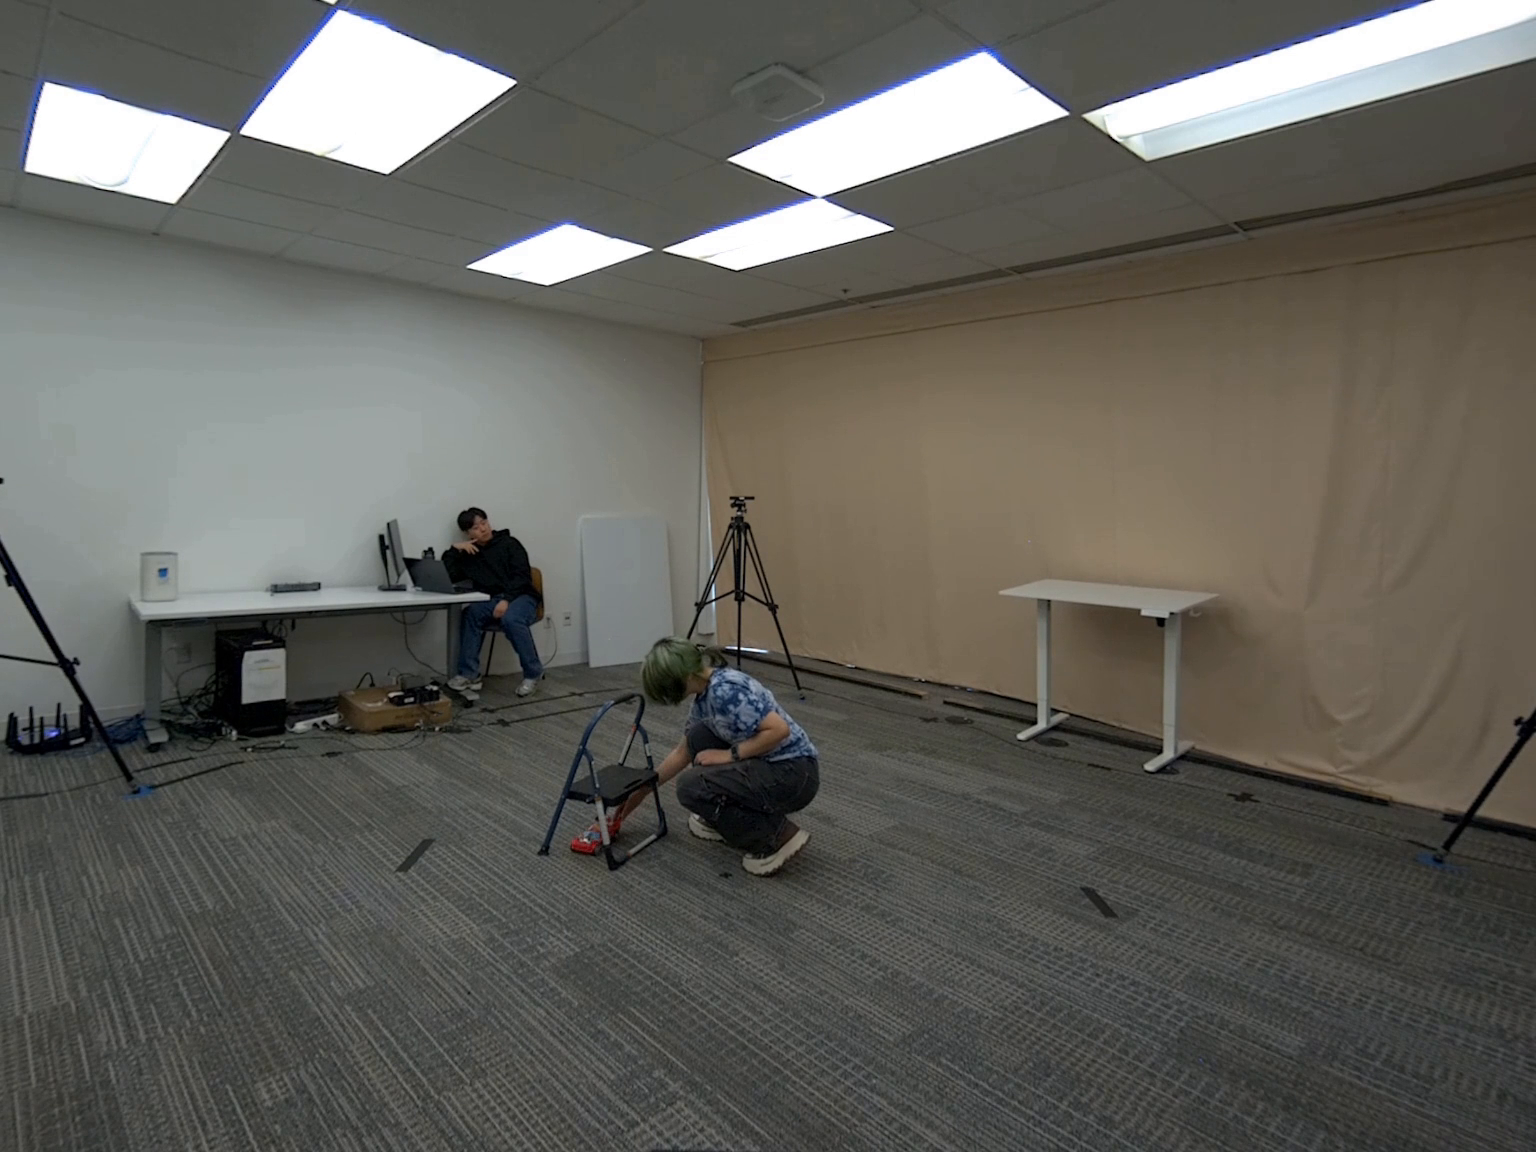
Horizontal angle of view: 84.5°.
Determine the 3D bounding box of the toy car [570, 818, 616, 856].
[{"bbox_3d":[-0.678,1.030,3.360,0.132,0.082,0.253,1,15,19],"label":"toy car"}]
